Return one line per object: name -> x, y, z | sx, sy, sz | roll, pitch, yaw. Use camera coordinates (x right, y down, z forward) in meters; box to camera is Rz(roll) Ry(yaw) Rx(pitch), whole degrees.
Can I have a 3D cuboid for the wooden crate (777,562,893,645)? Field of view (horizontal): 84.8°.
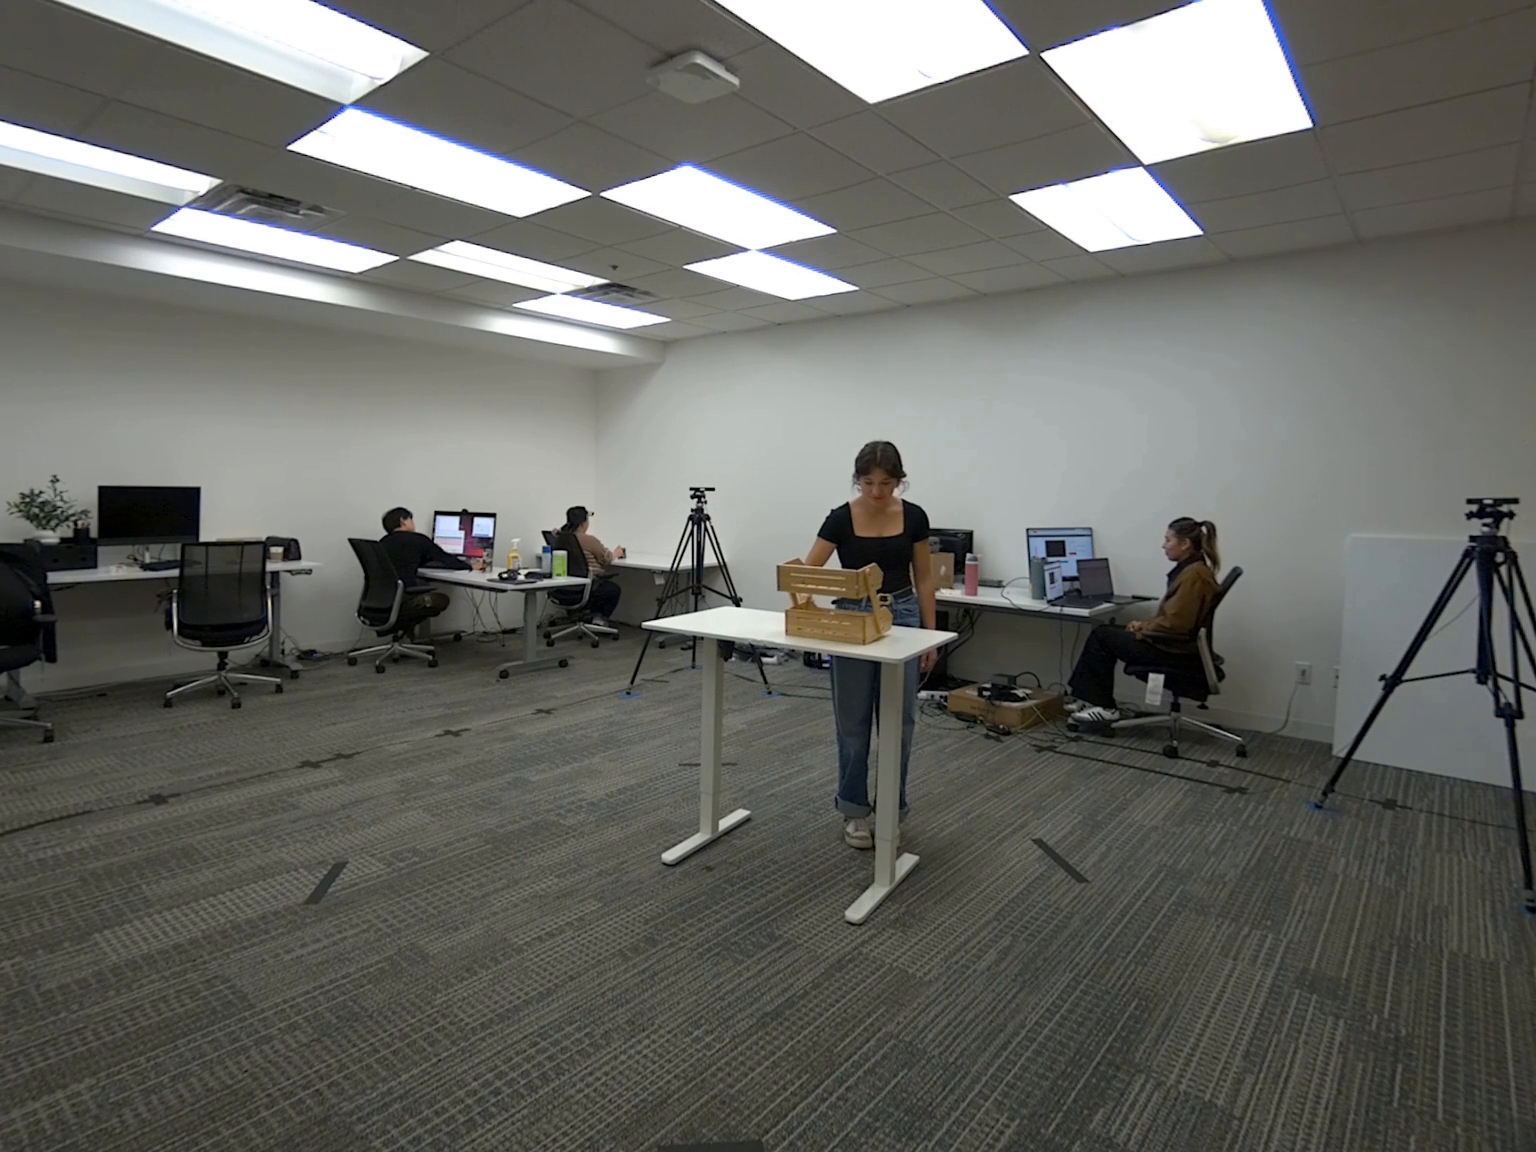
wooden crate -> 0.225, 0.067, 2.964 | 0.334, 0.271, 0.296 | 4, 11, 30
